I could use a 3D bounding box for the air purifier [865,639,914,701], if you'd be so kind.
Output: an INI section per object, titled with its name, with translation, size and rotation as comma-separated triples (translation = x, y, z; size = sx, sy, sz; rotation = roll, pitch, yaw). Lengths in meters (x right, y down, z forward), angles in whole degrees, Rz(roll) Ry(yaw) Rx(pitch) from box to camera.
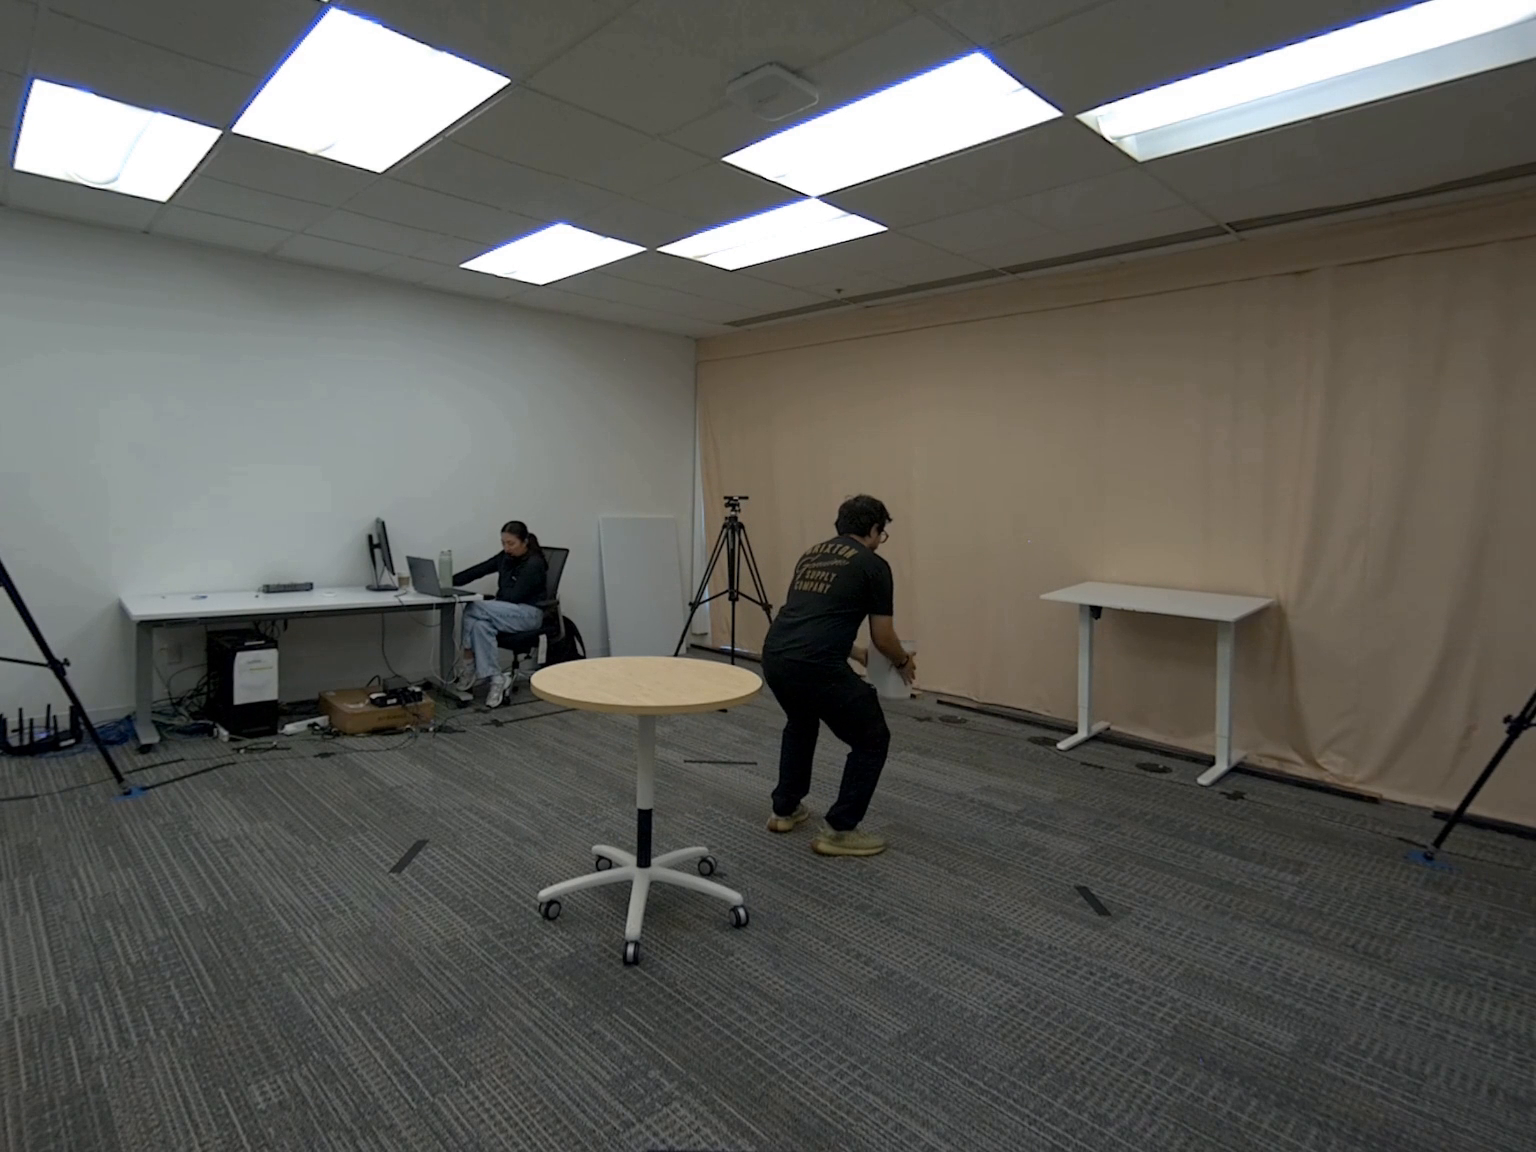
[air purifier]
translation = 0.536, 0.401, 3.715
size = 0.167, 0.265, 0.175
rotation = 4, 3, -38
